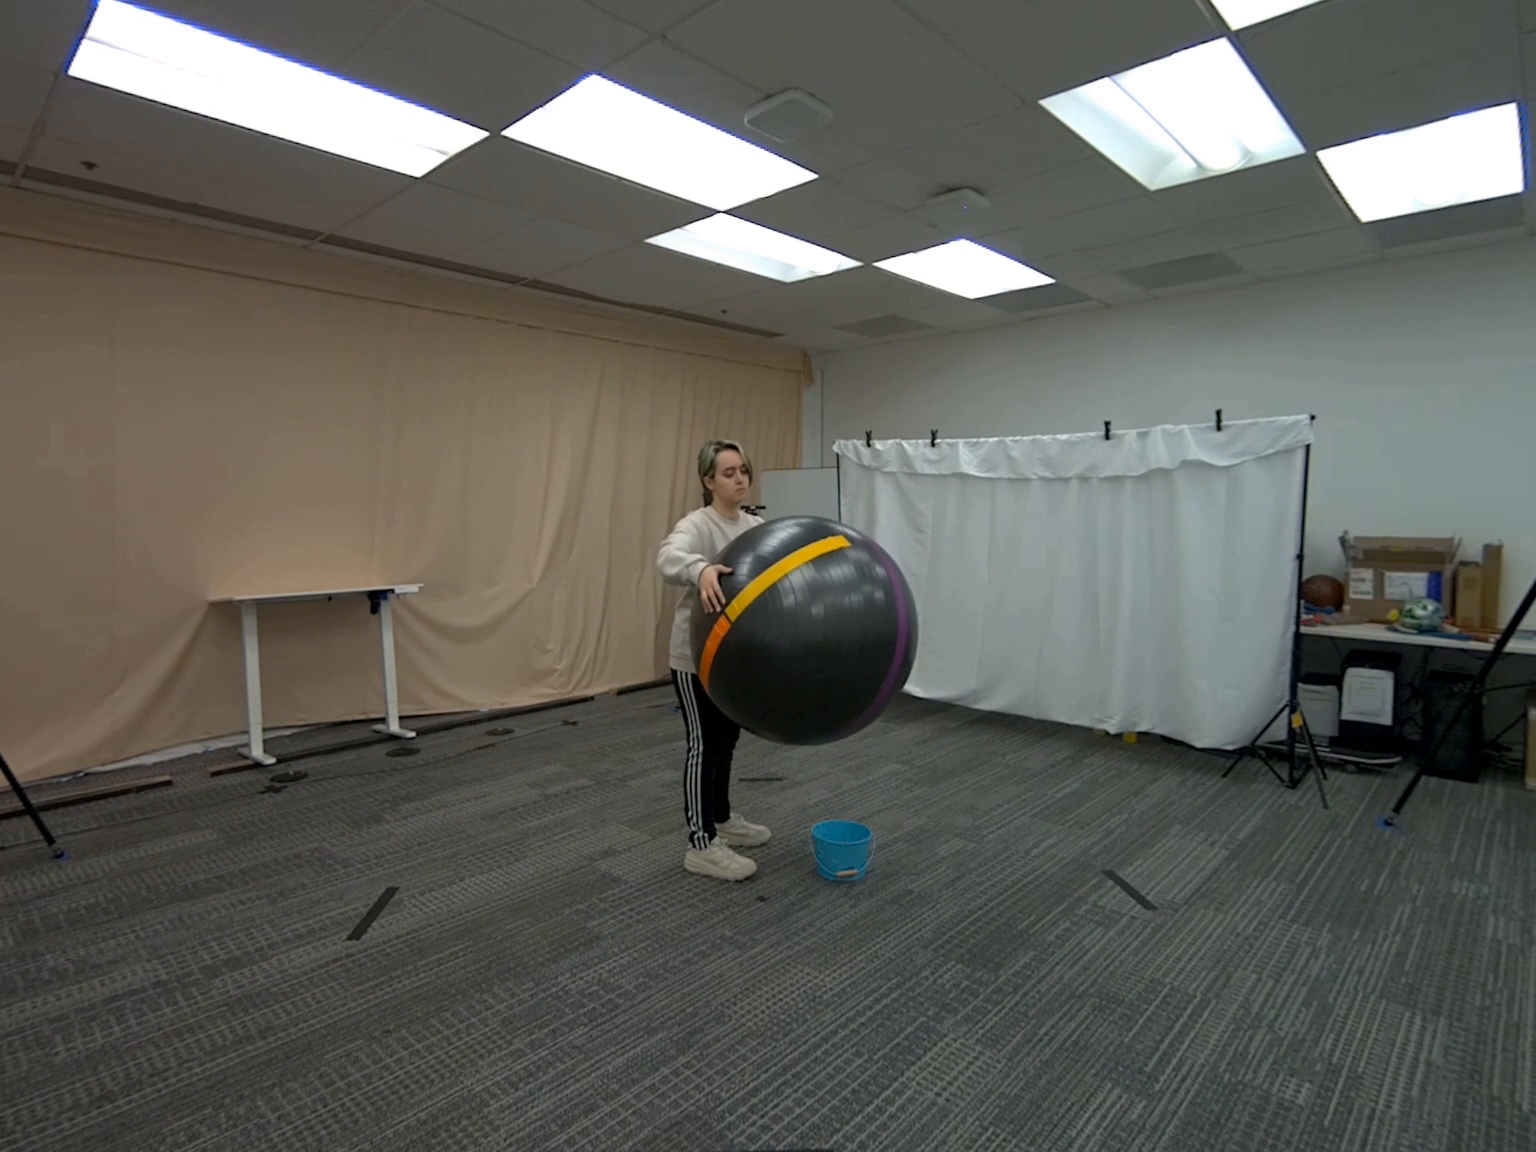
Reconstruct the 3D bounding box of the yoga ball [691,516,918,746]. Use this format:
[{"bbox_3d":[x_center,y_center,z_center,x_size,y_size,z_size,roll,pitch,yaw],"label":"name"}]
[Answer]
[{"bbox_3d":[0.120,0.182,2.796,0.757,0.756,0.761,0,4,-2],"label":"yoga ball"}]
